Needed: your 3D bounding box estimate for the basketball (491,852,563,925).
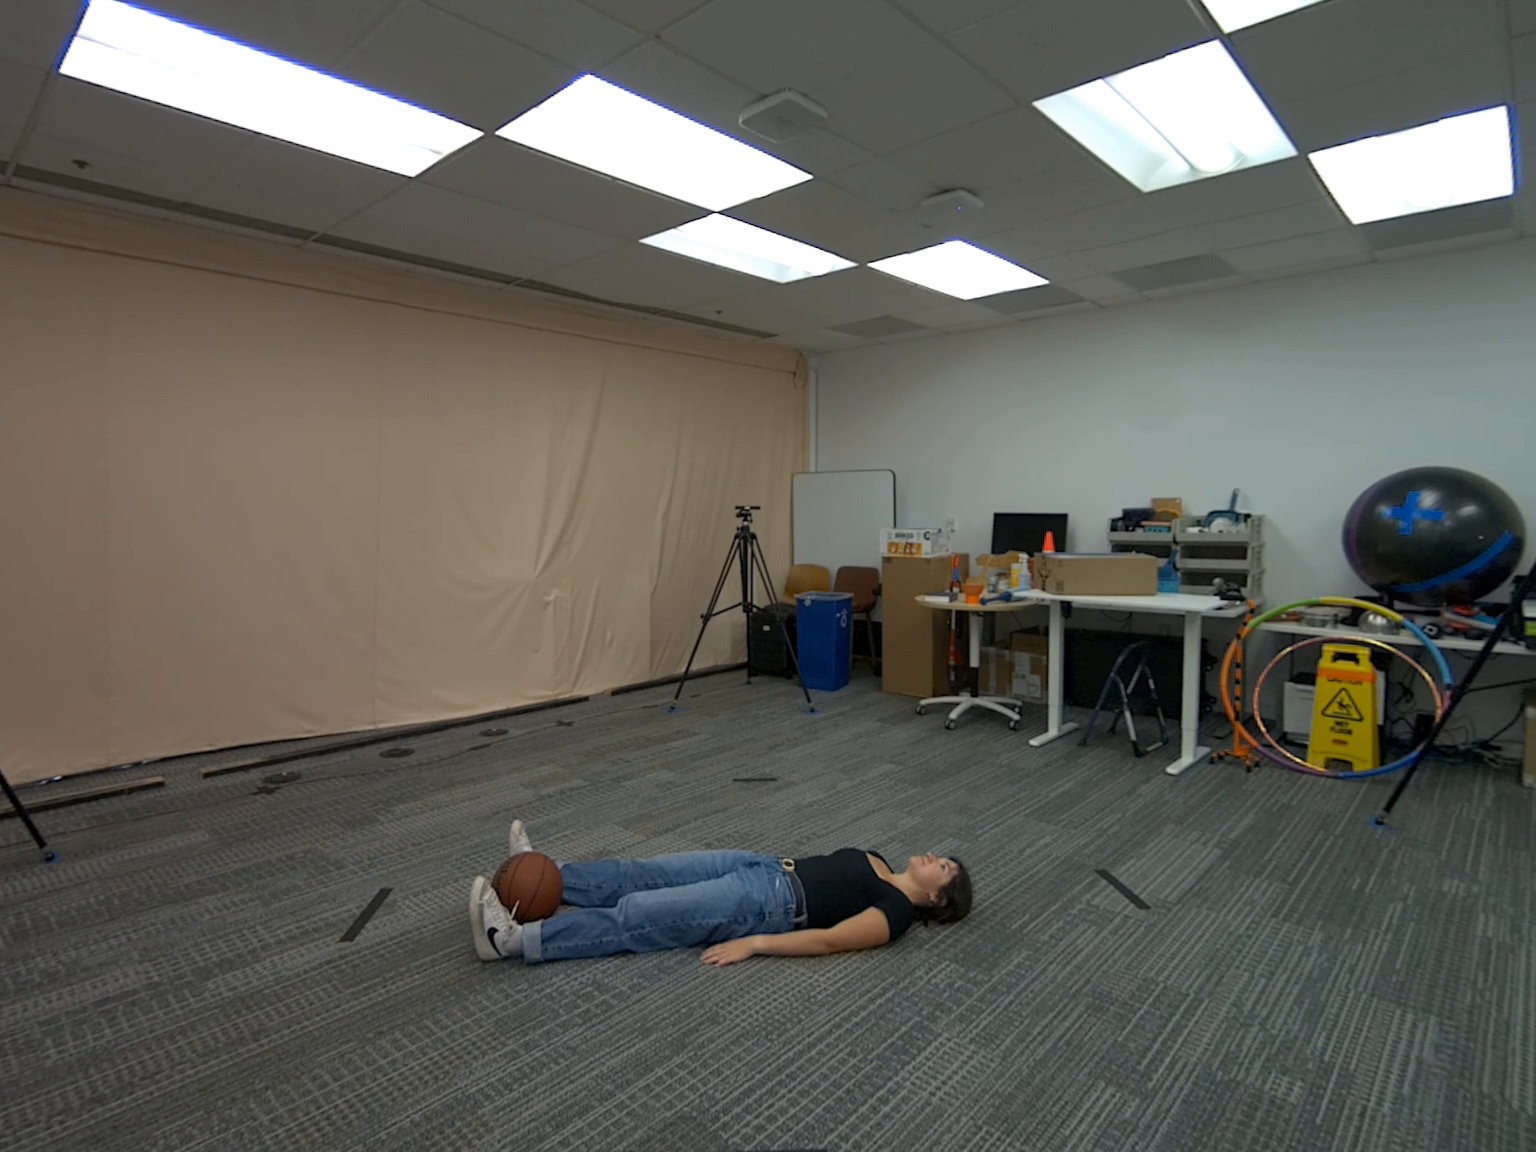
[{"bbox_3d":[-0.803,1.043,2.805,0.236,0.235,0.237,0,4,-2],"label":"basketball"}]
